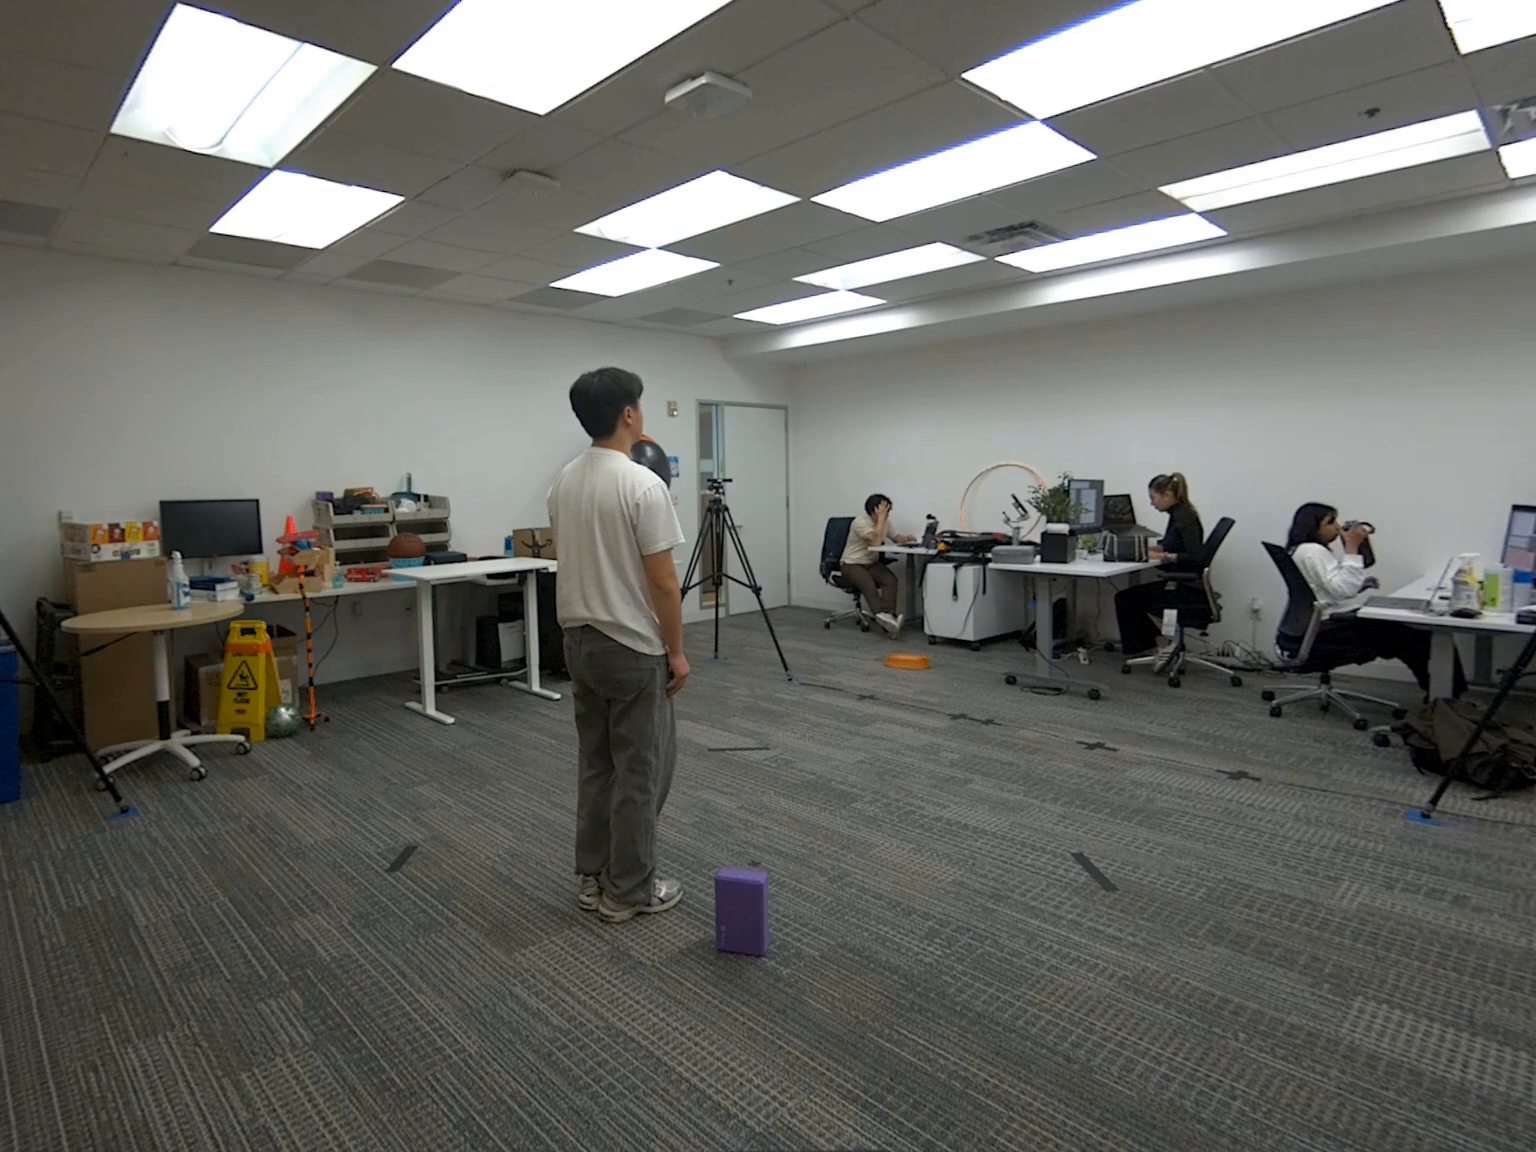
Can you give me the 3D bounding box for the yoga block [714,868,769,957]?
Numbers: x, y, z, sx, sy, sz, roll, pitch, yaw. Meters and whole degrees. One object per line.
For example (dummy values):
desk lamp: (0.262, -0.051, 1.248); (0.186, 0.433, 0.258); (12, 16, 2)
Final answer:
yoga block: (-0.069, 0.995, 2.543); (0.151, 0.228, 0.075); (1, 4, 15)
